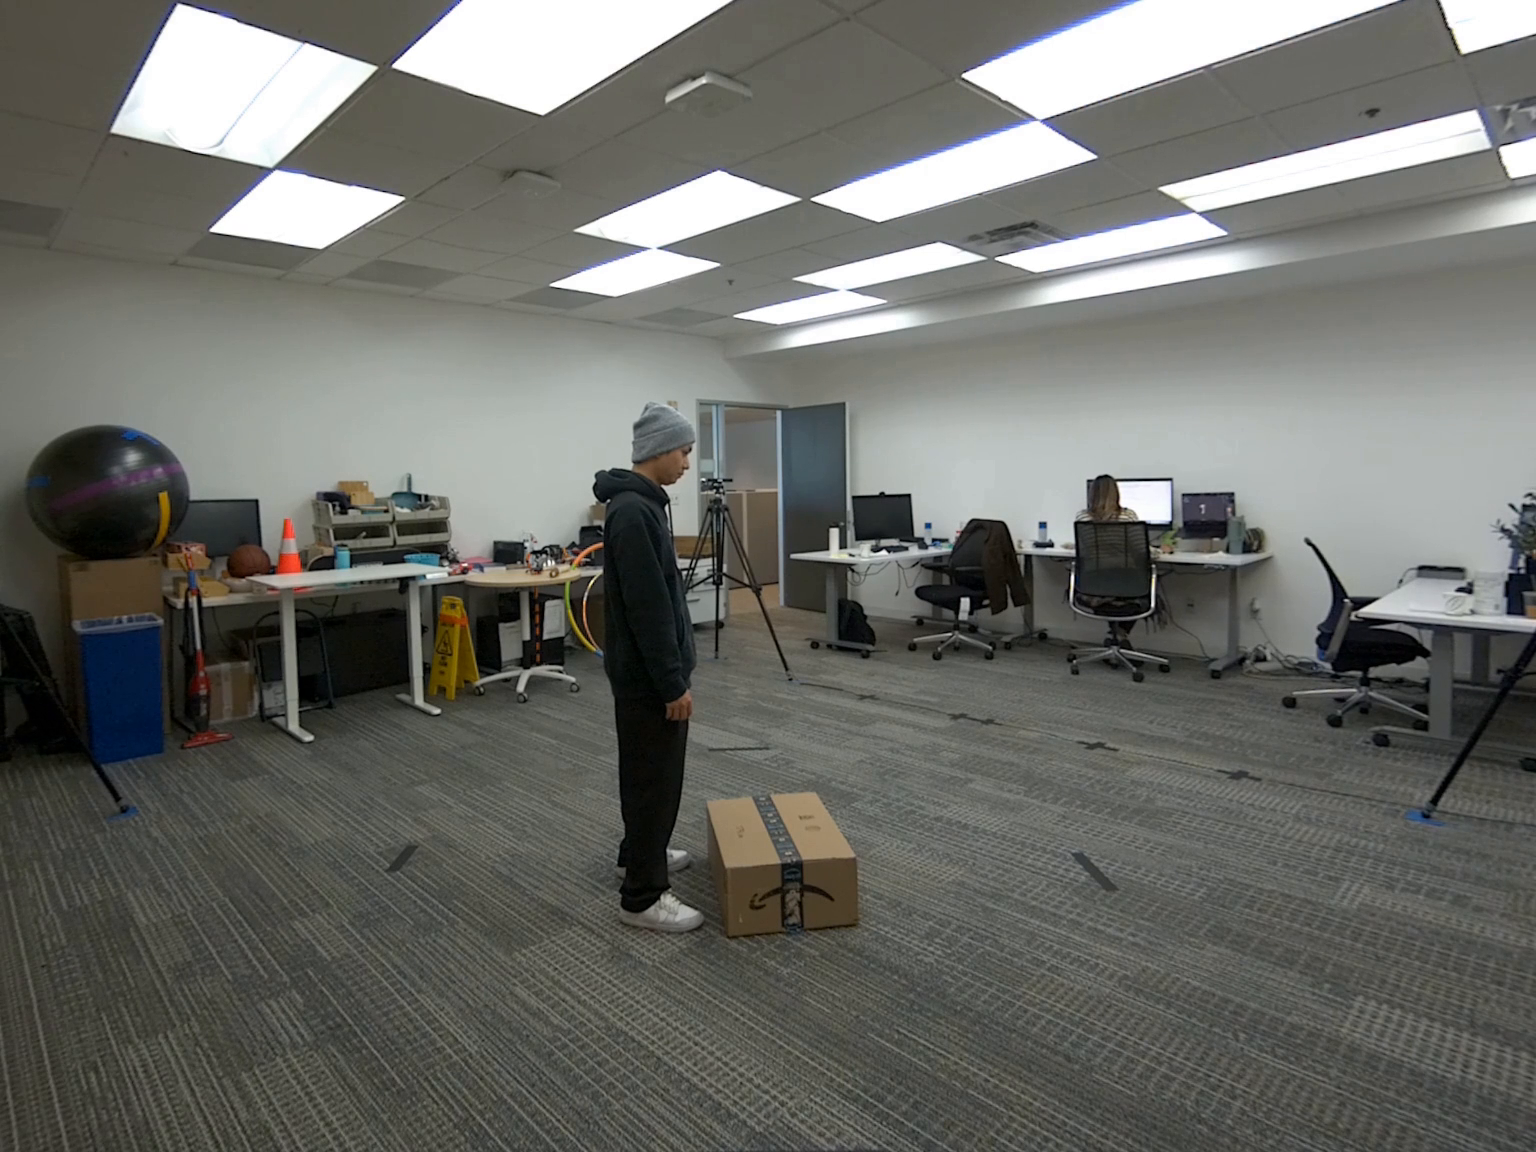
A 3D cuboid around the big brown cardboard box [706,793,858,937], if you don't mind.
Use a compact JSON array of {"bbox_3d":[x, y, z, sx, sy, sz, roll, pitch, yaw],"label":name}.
[{"bbox_3d":[0.030,0.956,2.898,0.414,0.232,0.597,-3,7,-9],"label":"big brown cardboard box"}]
